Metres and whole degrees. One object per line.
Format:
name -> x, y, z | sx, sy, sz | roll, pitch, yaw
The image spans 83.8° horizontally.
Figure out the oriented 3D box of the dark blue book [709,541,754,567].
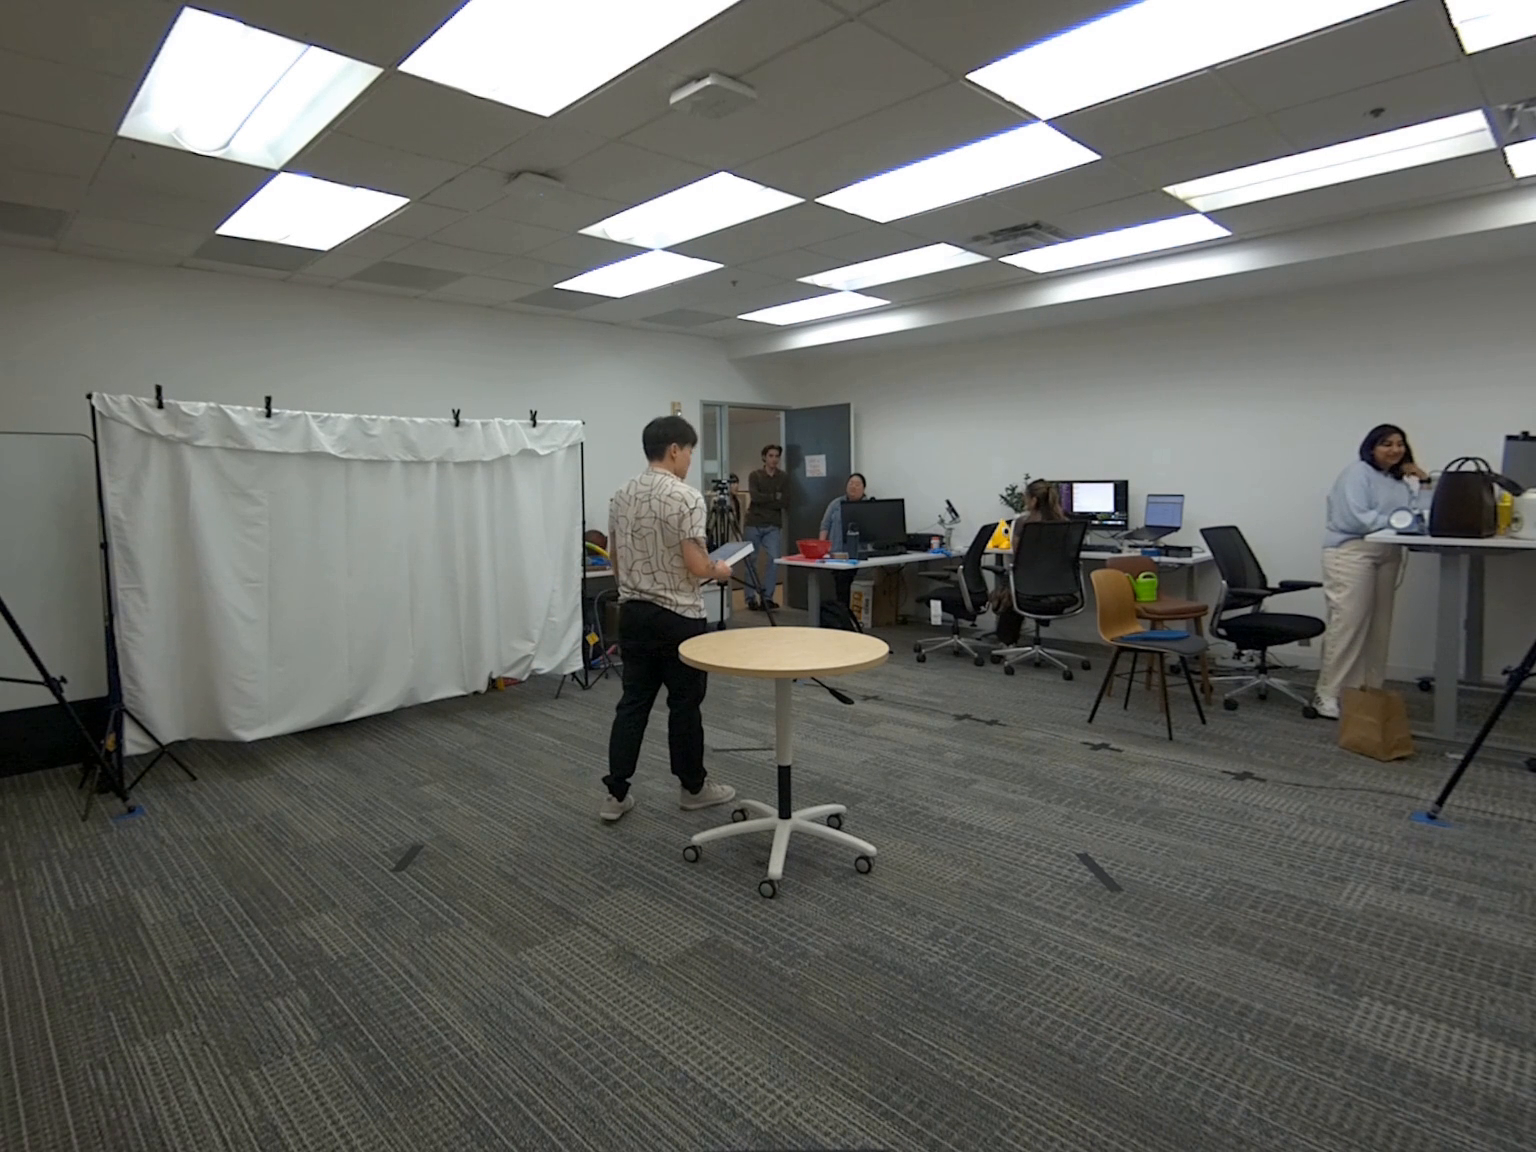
dark blue book -> -0.199, -0.083, 3.792 | 0.168, 0.044, 0.243 | 0, 25, 44
